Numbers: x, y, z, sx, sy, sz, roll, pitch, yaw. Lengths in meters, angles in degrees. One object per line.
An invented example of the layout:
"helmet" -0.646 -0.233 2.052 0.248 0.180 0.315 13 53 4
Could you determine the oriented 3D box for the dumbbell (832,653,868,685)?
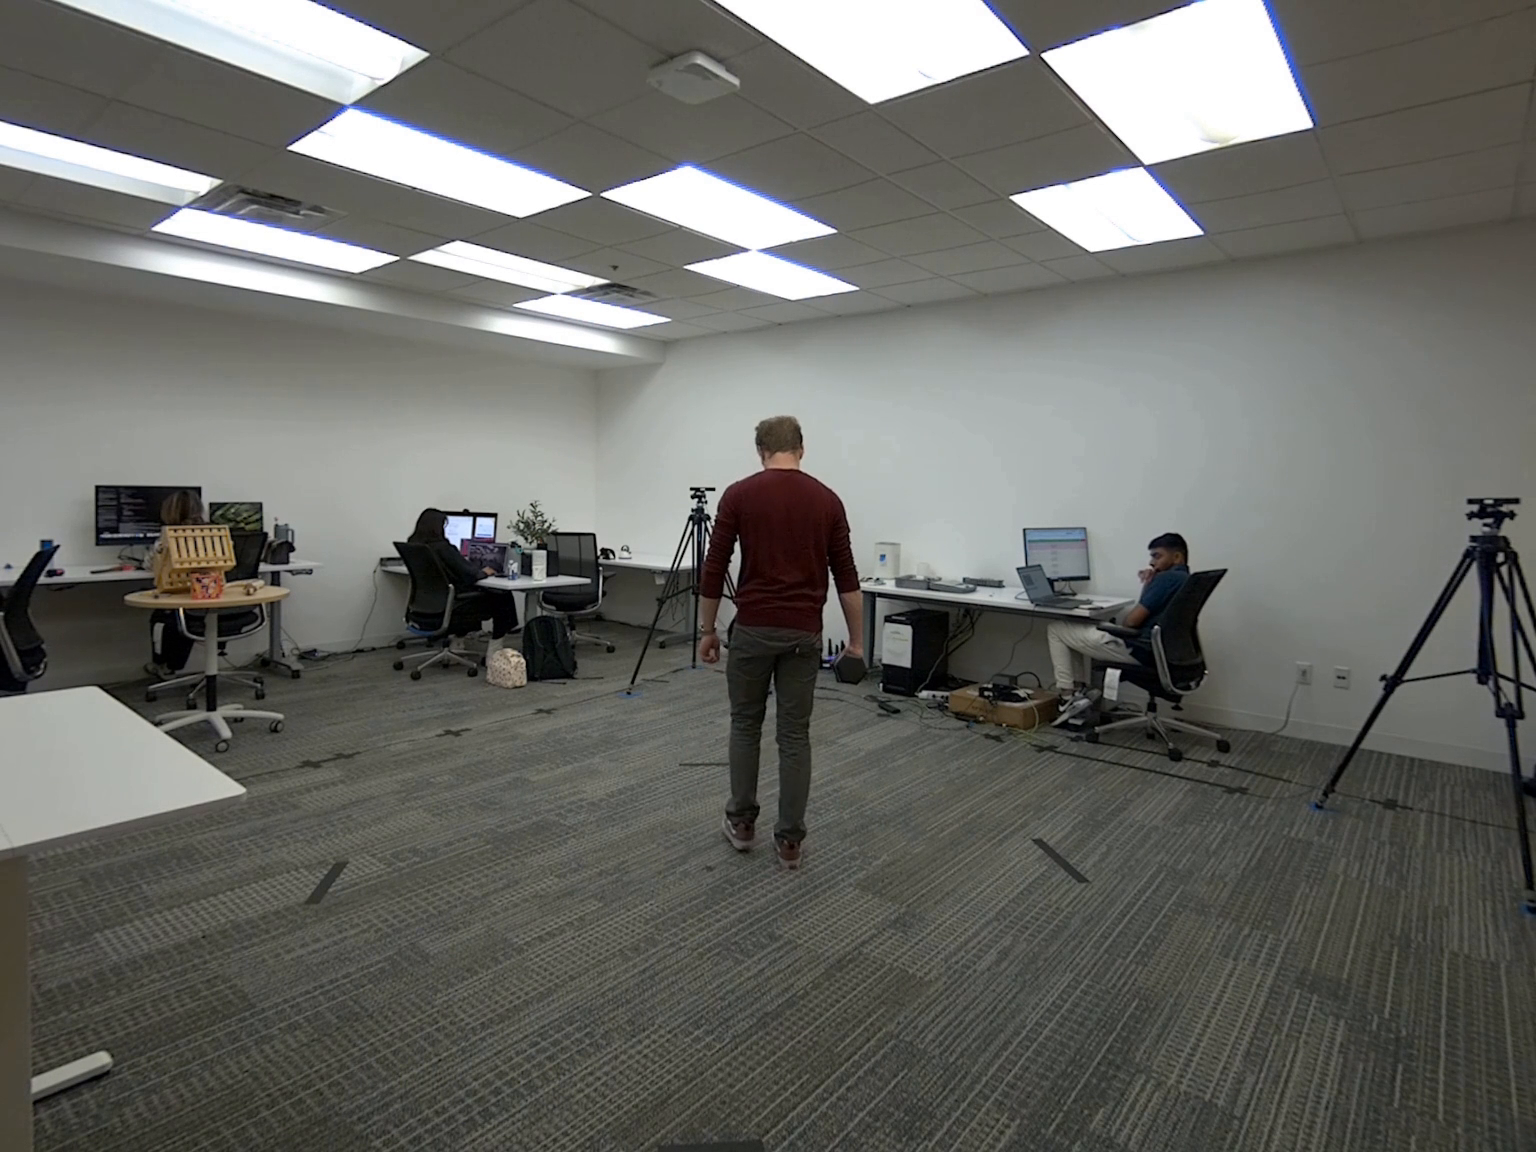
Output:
"dumbbell" 0.298 0.347 3.264 0.109 0.123 0.292 -21 -1 0
